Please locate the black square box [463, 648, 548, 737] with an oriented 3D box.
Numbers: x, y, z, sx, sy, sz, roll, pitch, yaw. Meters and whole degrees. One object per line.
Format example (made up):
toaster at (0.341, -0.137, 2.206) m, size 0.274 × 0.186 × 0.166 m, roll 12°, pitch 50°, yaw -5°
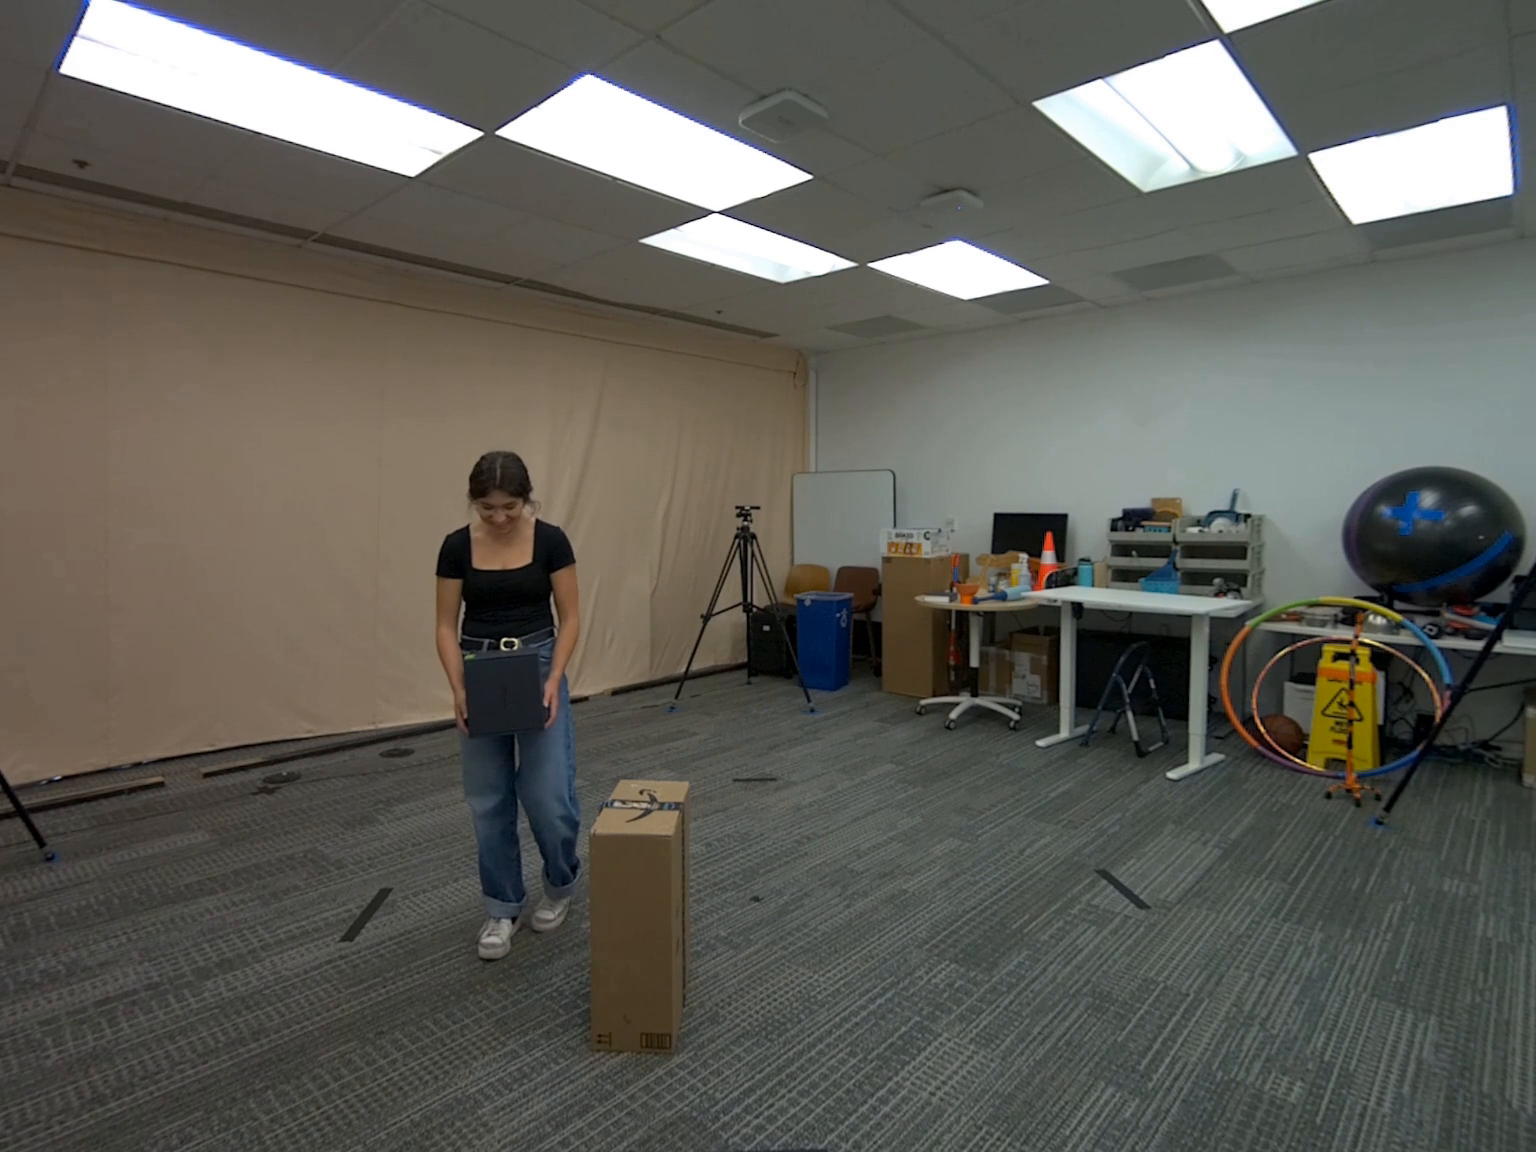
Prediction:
black square box at (-0.791, 0.339, 2.497) m, size 0.215 × 0.227 × 0.158 m, roll -4°, pitch 4°, yaw -9°
